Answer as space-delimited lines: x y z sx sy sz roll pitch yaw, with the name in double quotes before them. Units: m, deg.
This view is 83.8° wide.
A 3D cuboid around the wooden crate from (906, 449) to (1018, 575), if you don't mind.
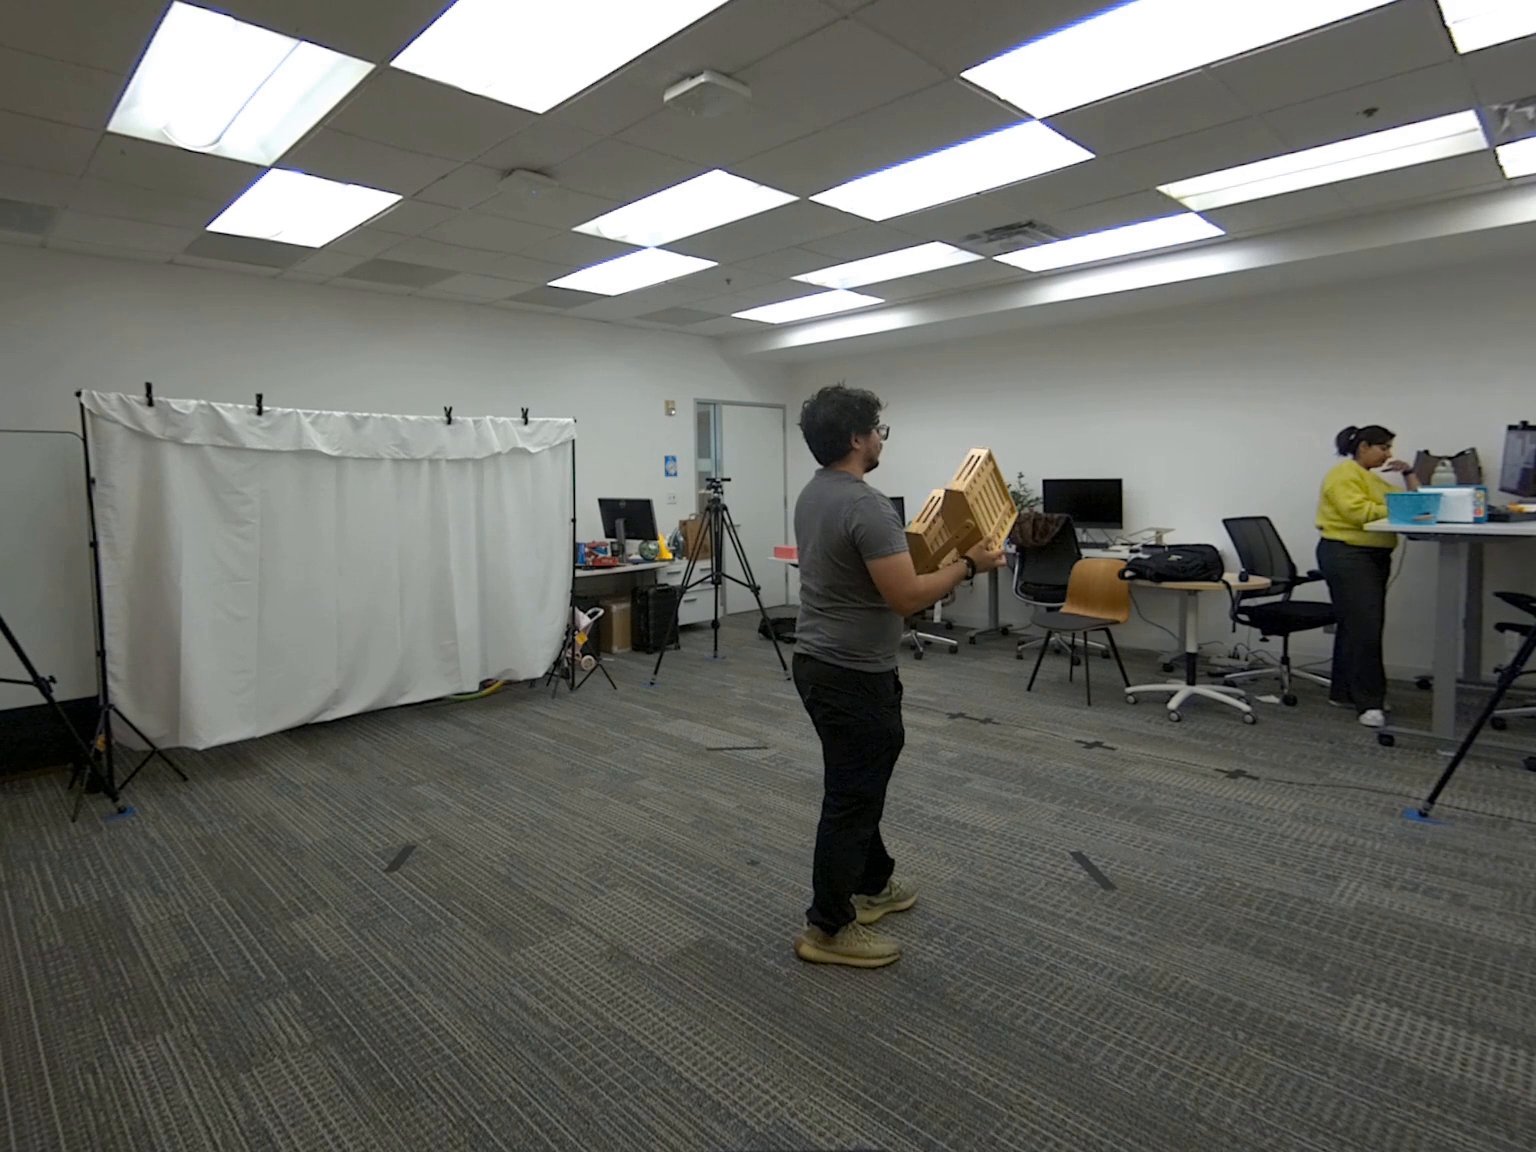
"wooden crate" 0.553 -0.172 2.578 0.278 0.297 0.324 -17 19 38
